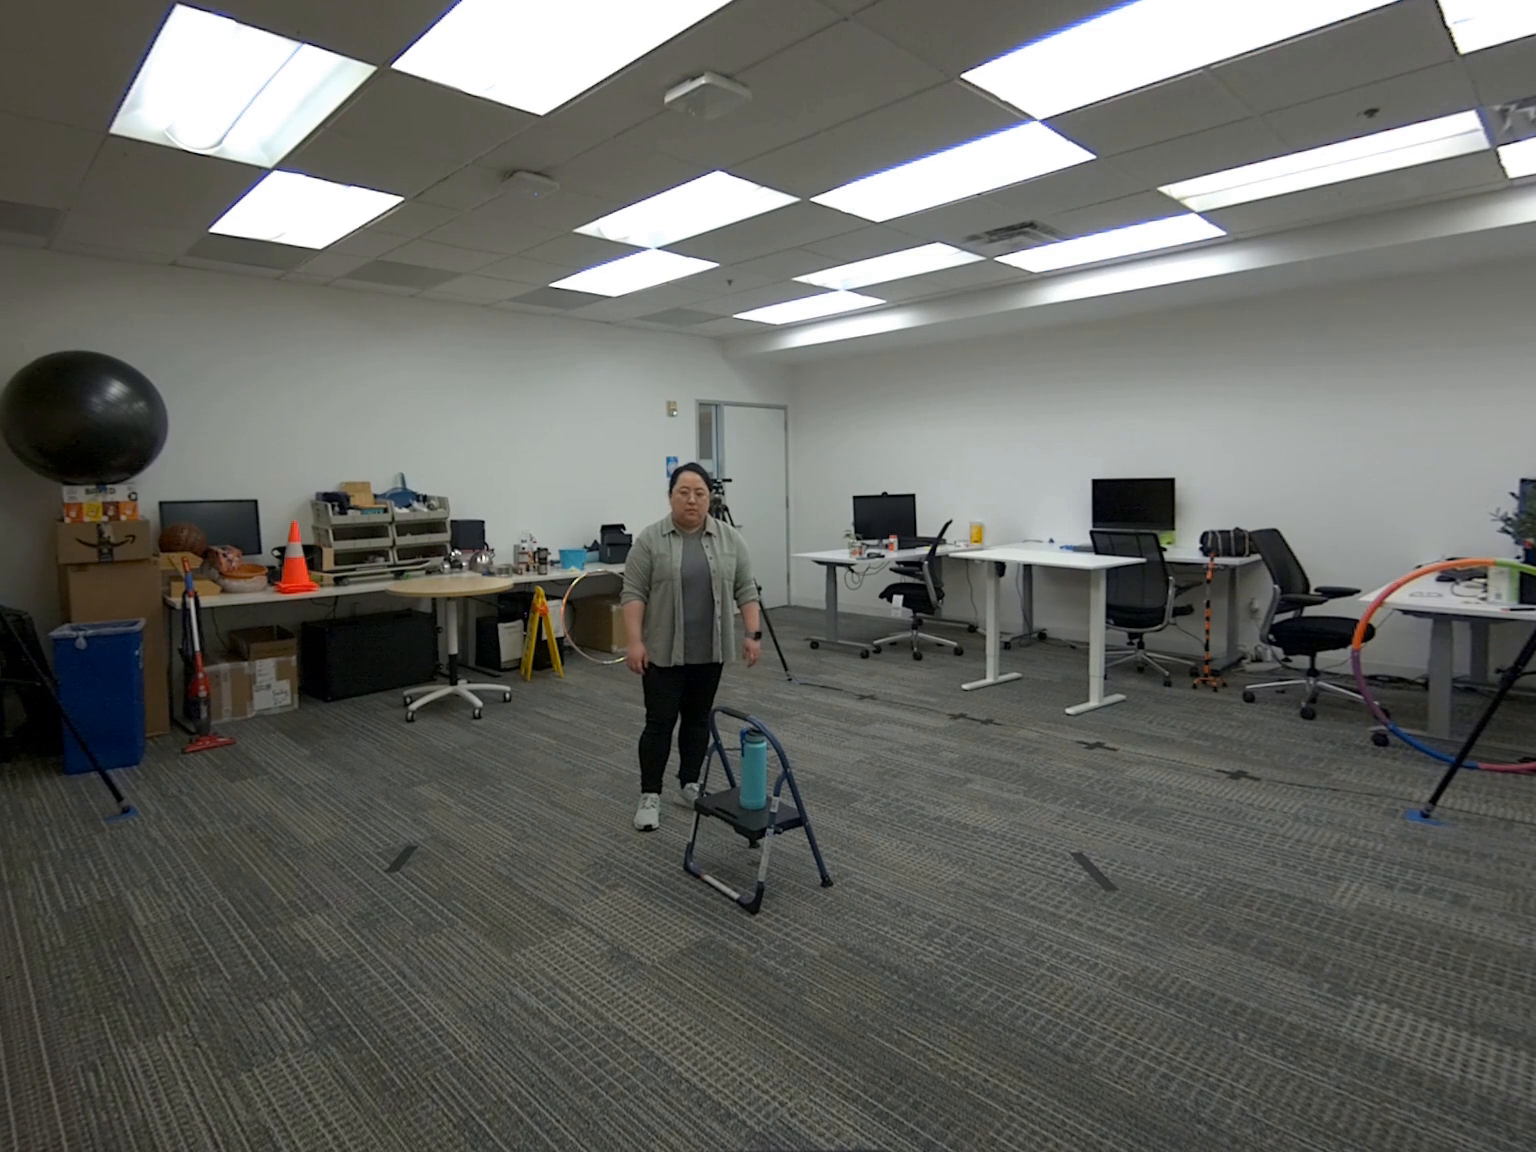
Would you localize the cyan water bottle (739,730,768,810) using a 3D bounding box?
[{"bbox_3d":[-0.048,0.661,2.961,0.092,0.282,0.093,0,4,-2],"label":"cyan water bottle"}]
